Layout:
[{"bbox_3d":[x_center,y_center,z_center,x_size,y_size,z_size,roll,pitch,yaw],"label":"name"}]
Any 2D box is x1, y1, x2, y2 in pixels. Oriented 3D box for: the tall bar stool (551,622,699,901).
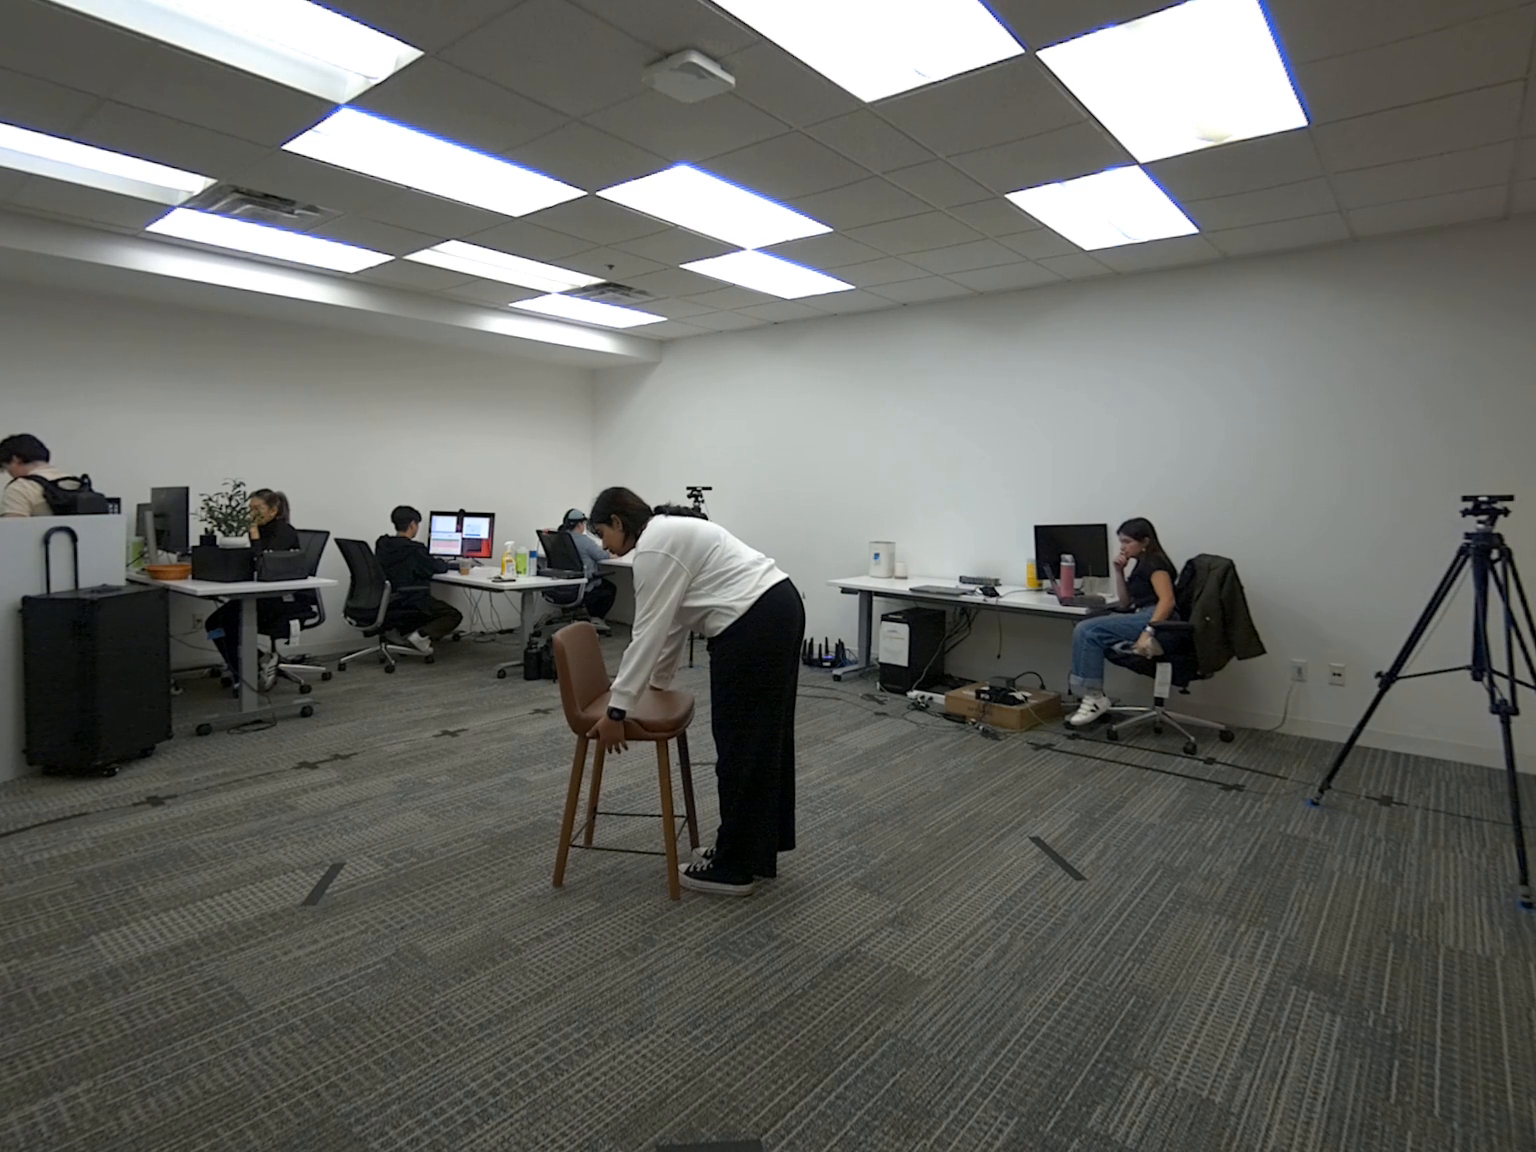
[{"bbox_3d":[-0.507,0.632,3.068,0.472,0.888,0.453,0,3,8],"label":"tall bar stool"}]
